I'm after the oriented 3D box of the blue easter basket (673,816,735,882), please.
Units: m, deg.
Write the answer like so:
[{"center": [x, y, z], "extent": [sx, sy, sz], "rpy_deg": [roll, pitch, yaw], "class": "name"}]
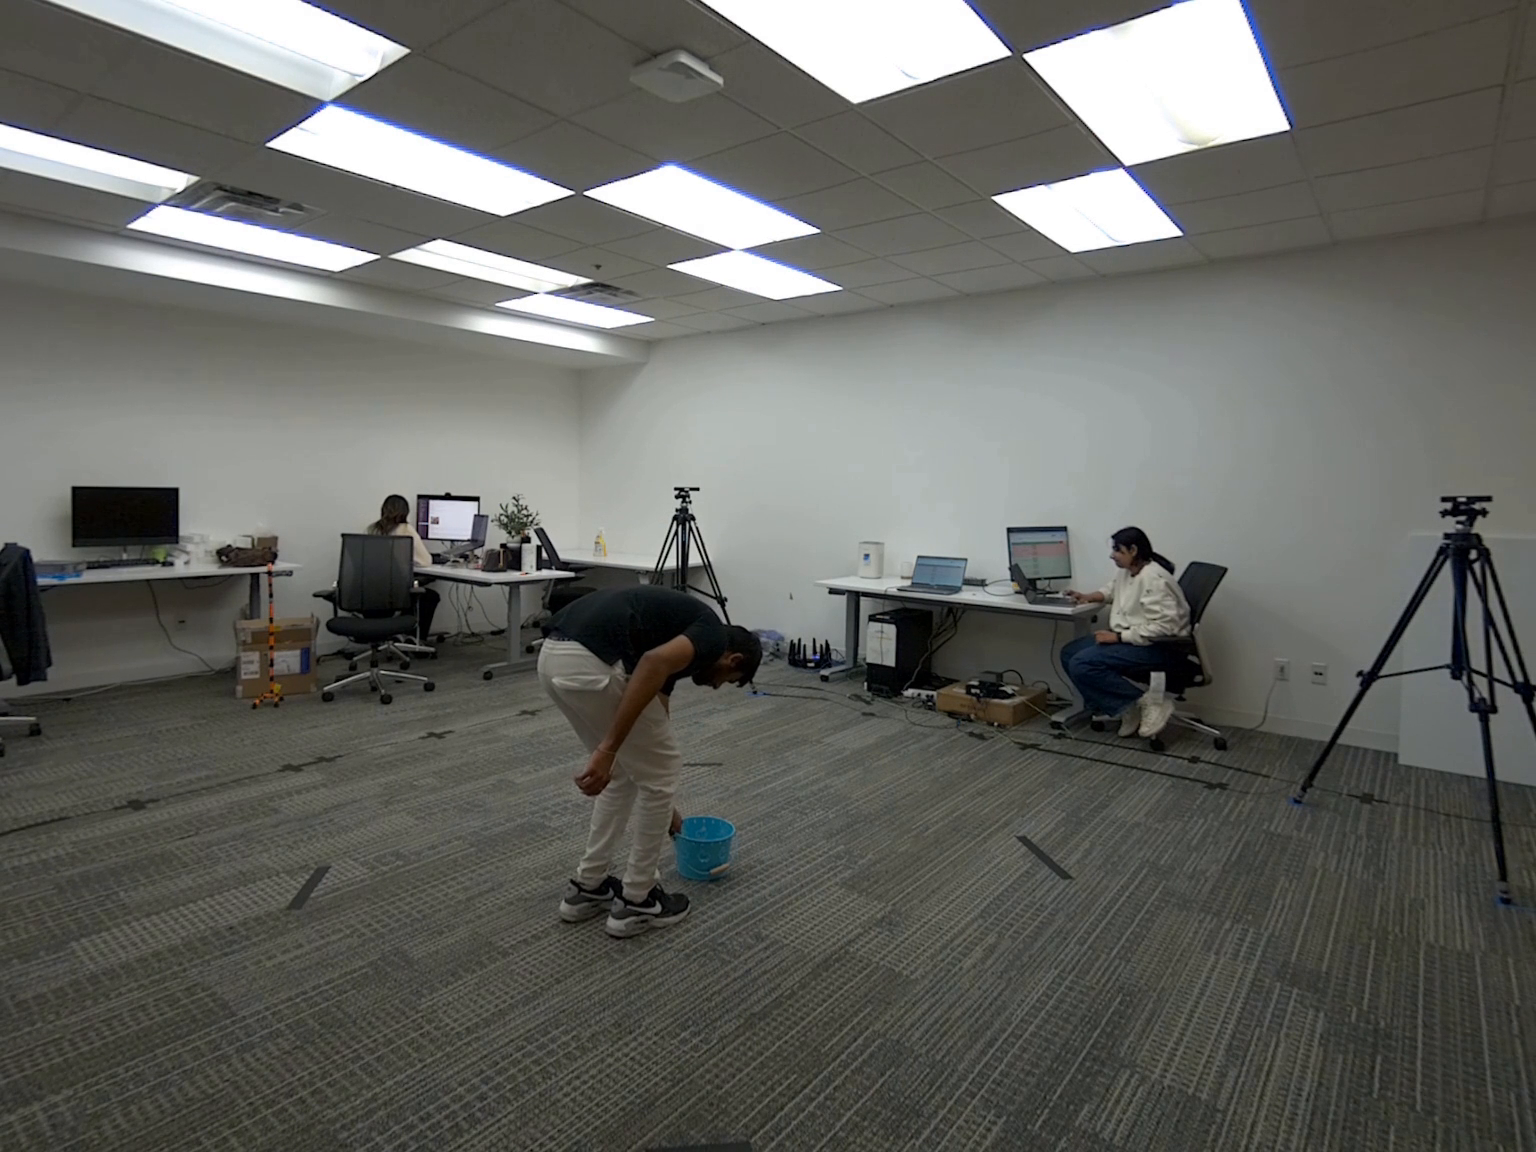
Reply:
[{"center": [-0.250, 0.986, 3.093], "extent": [0.243, 0.155, 0.245], "rpy_deg": [2, 4, -2], "class": "blue easter basket"}]
